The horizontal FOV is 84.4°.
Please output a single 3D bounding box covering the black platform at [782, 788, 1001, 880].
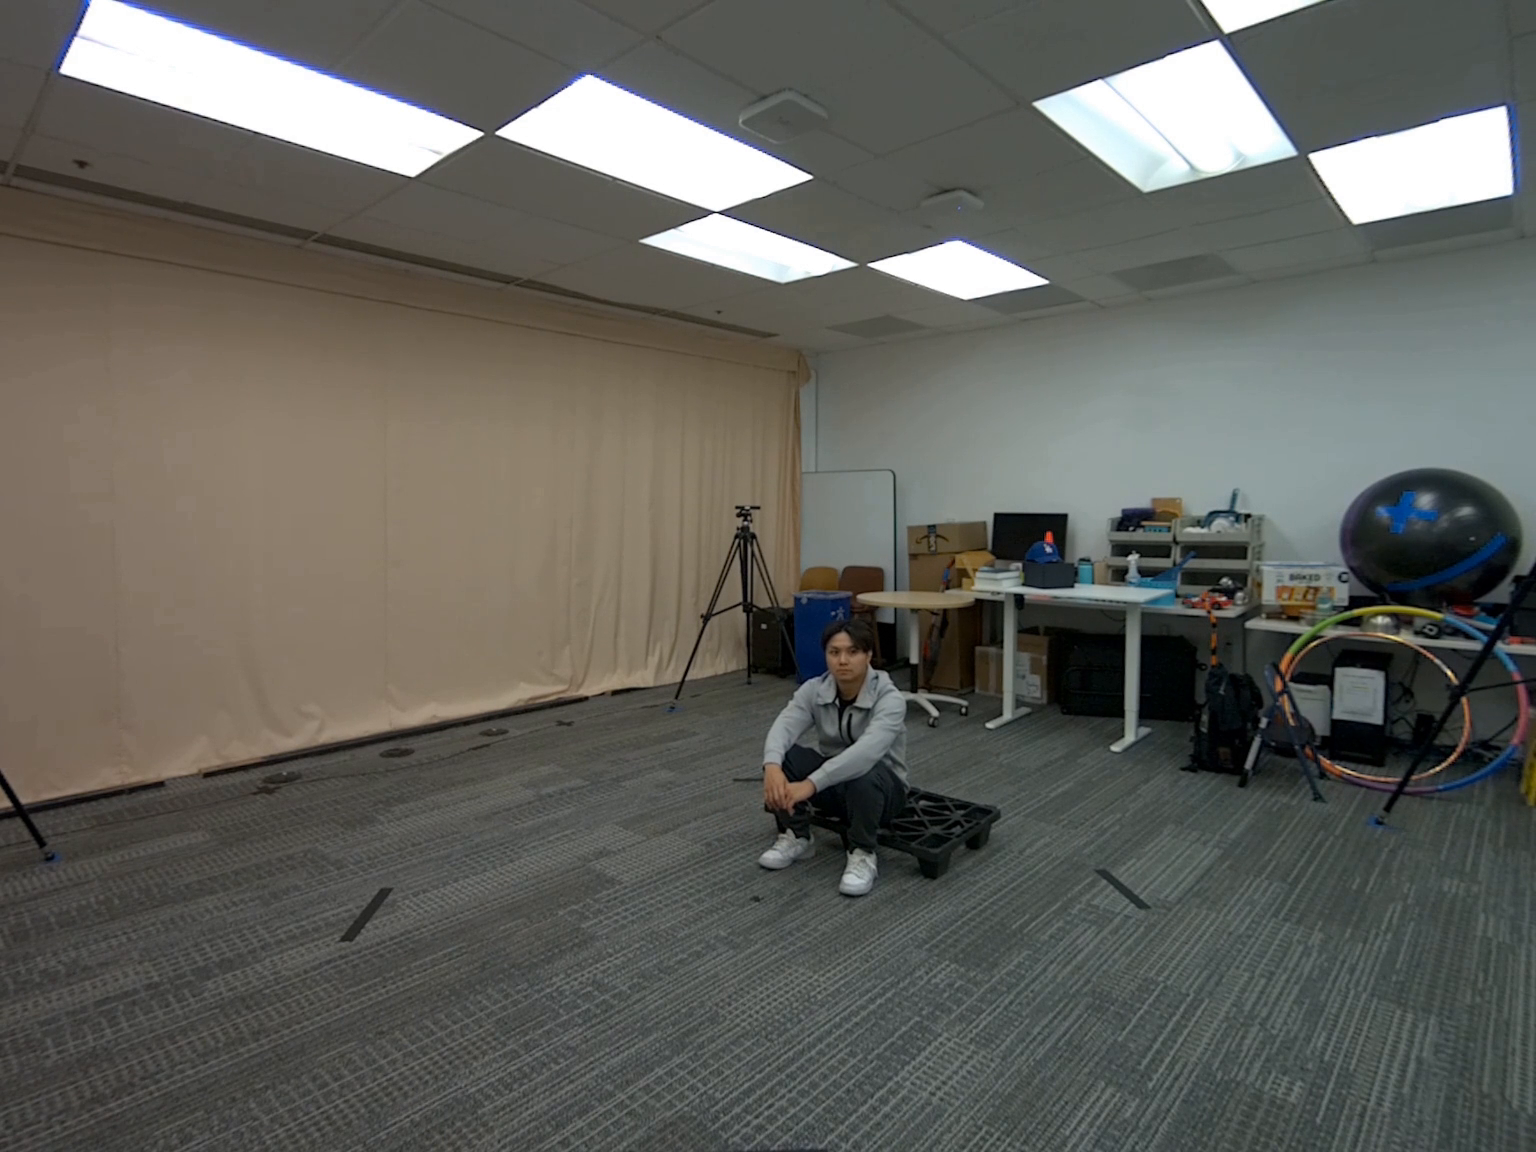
[{"bbox_3d":[0.477,1.032,3.534,0.832,0.143,0.587,4,6,39],"label":"black platform"}]
